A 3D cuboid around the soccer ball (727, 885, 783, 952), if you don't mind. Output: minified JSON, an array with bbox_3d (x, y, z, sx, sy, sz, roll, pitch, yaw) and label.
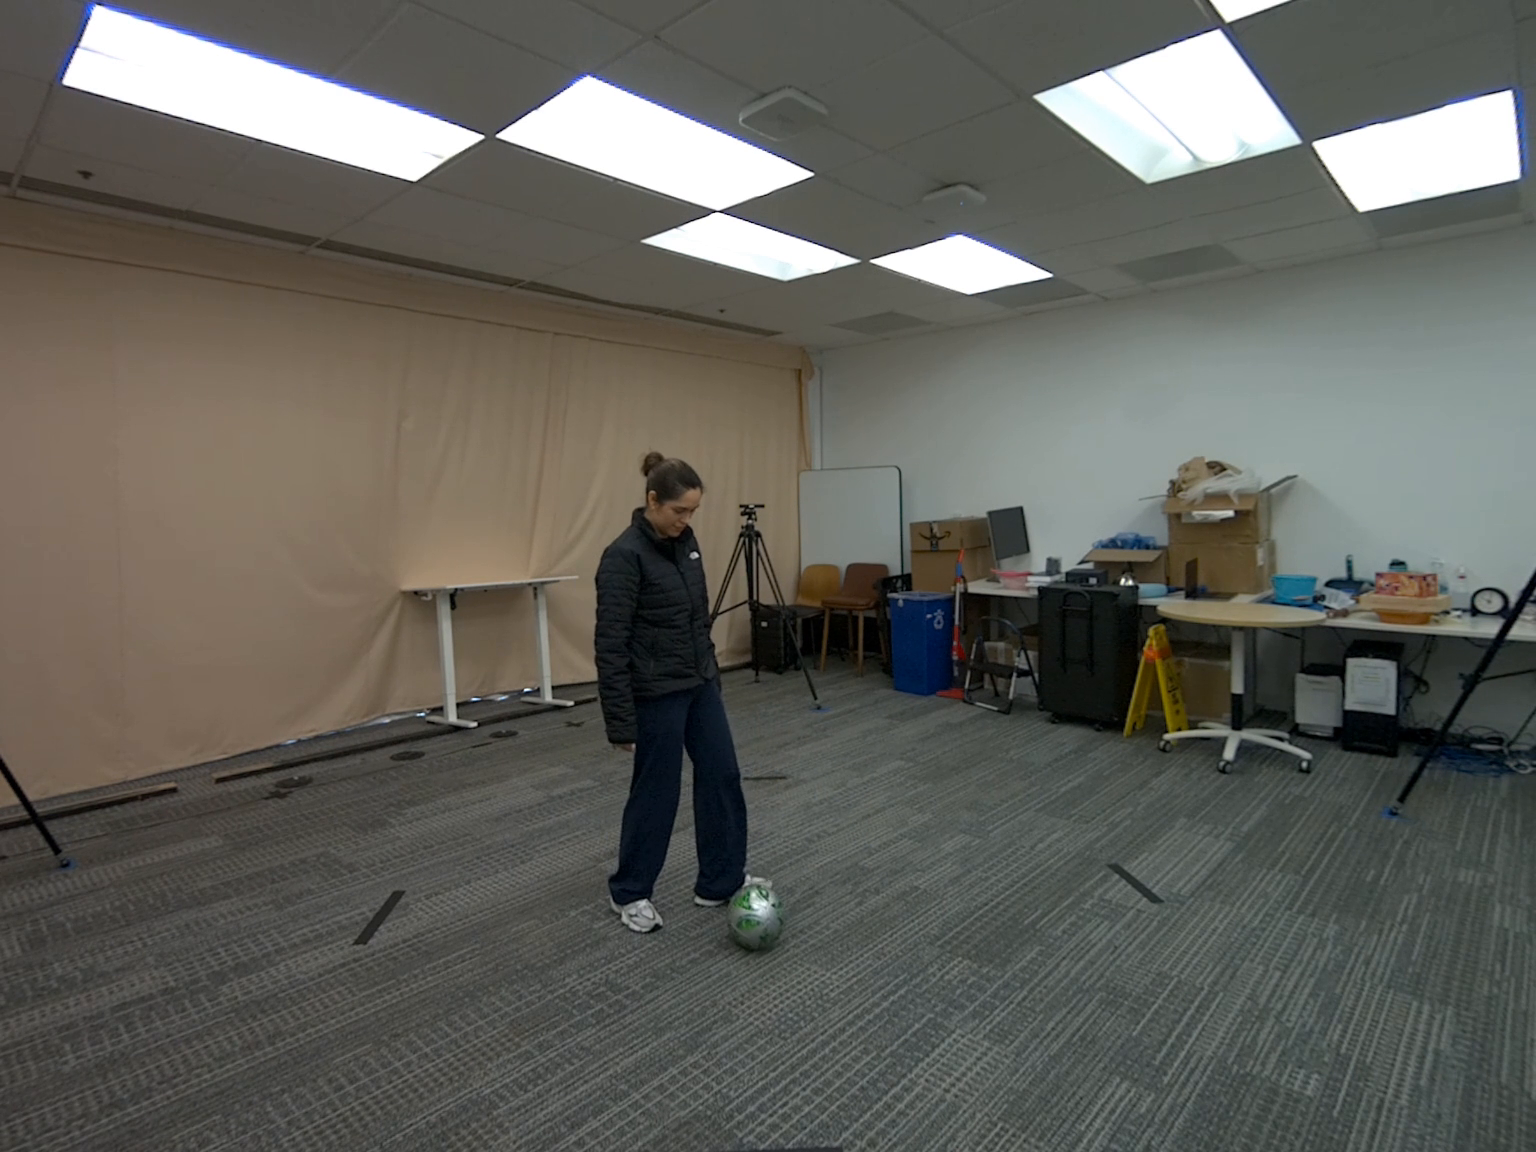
[{"bbox_3d":[-0.037,1.075,2.656,0.187,0.187,0.188,-1,4,-2],"label":"soccer ball"}]
